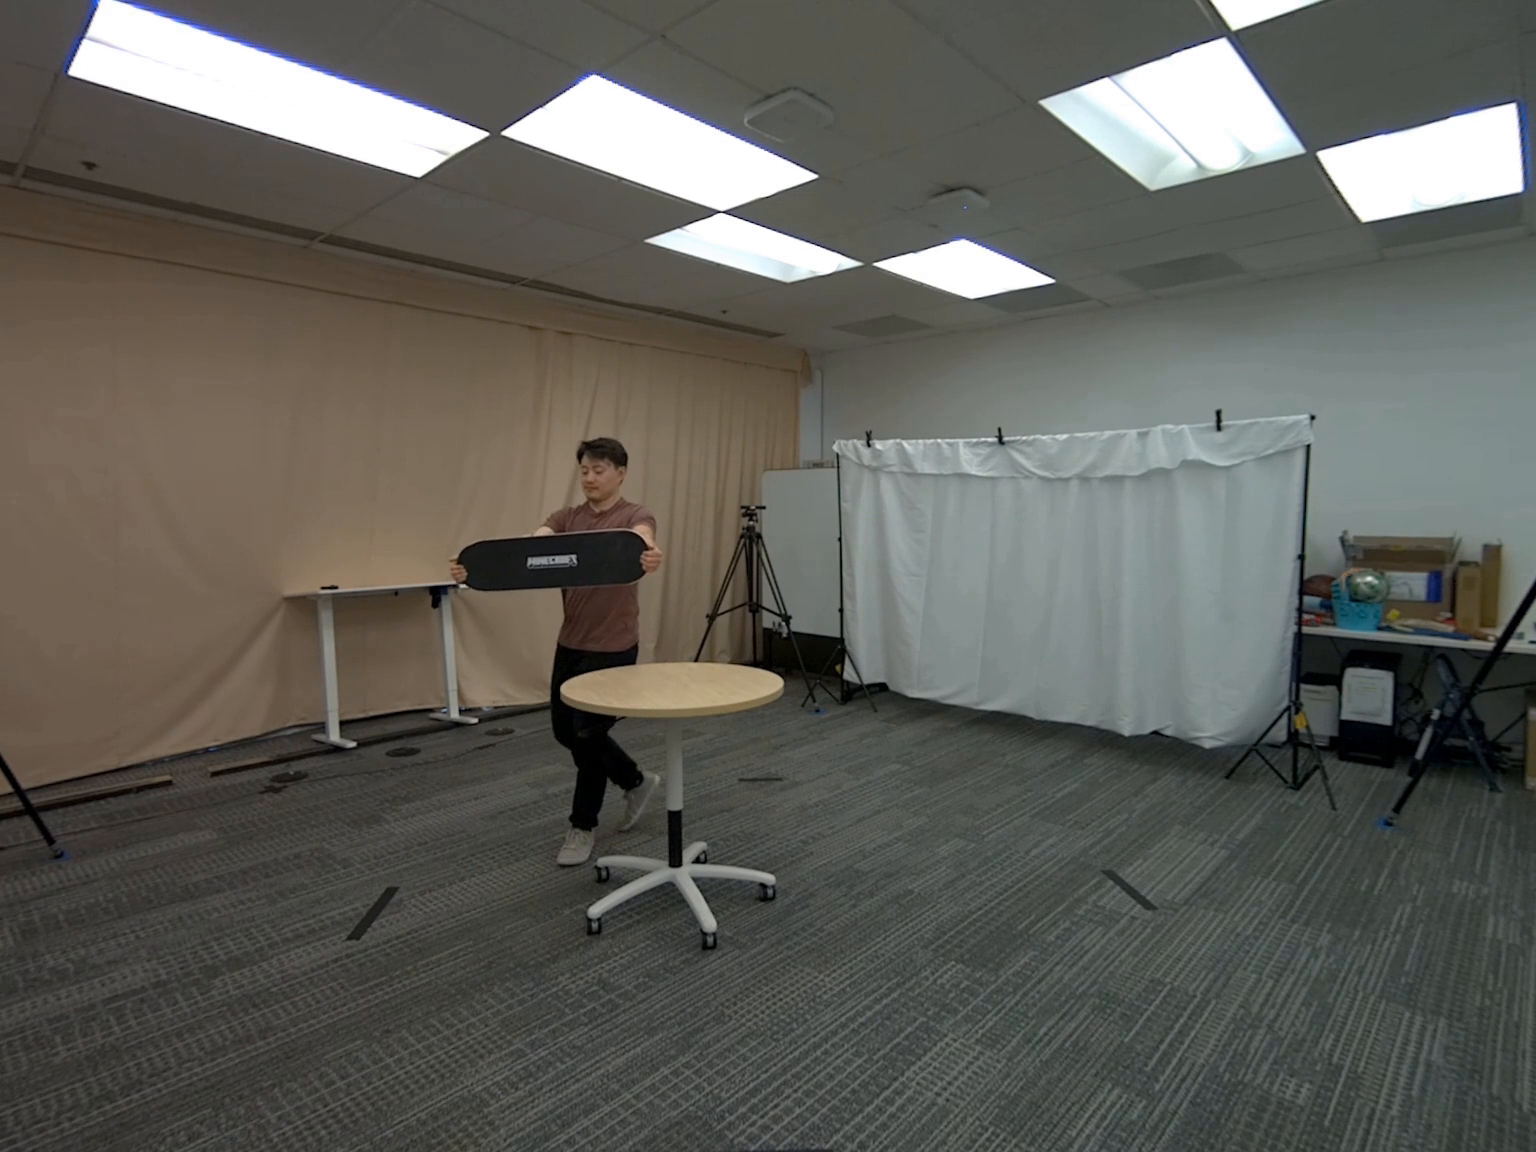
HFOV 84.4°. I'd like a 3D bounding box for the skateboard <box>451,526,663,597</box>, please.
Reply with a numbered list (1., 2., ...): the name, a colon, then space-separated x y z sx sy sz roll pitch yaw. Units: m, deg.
1. skateboard: -0.768 -0.049 3.035 0.801 0.193 0.108 -4 0 20
